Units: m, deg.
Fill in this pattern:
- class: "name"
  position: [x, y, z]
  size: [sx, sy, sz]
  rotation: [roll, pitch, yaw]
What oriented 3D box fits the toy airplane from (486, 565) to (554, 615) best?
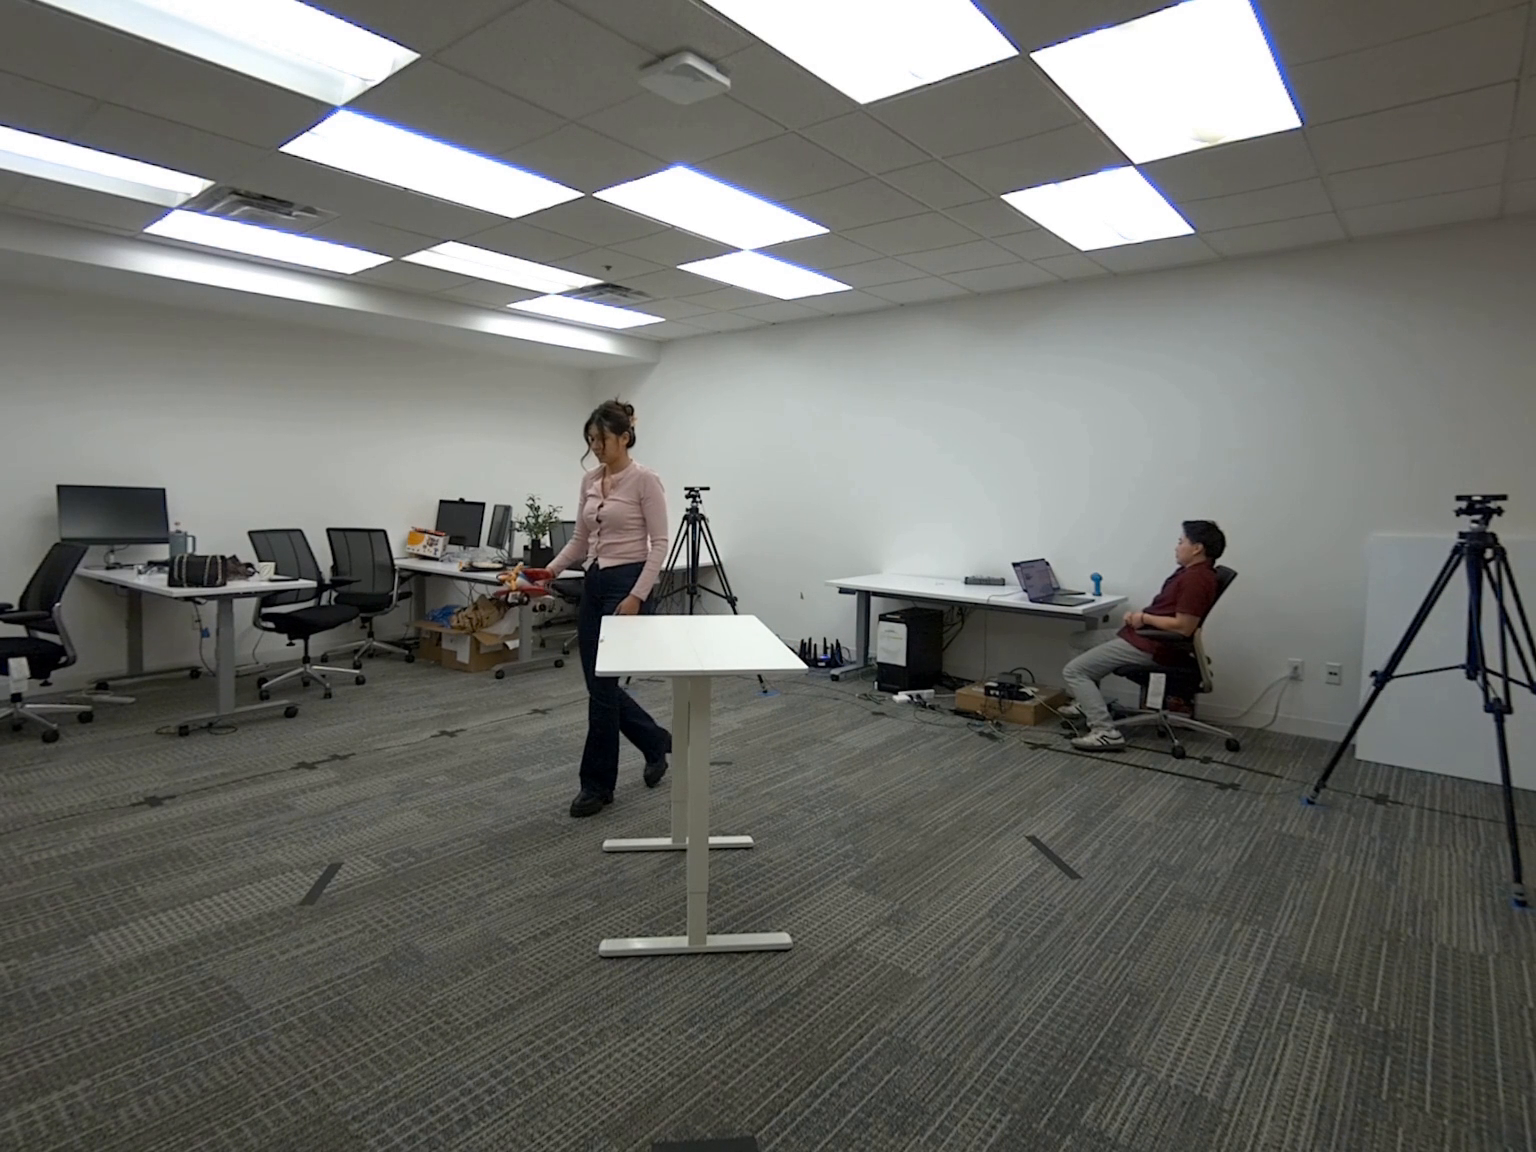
- class: "toy airplane"
  position: [-1.051, 0.060, 3.573]
  size: [0.249, 0.158, 0.258]
  rotation: [-1, -11, -9]
